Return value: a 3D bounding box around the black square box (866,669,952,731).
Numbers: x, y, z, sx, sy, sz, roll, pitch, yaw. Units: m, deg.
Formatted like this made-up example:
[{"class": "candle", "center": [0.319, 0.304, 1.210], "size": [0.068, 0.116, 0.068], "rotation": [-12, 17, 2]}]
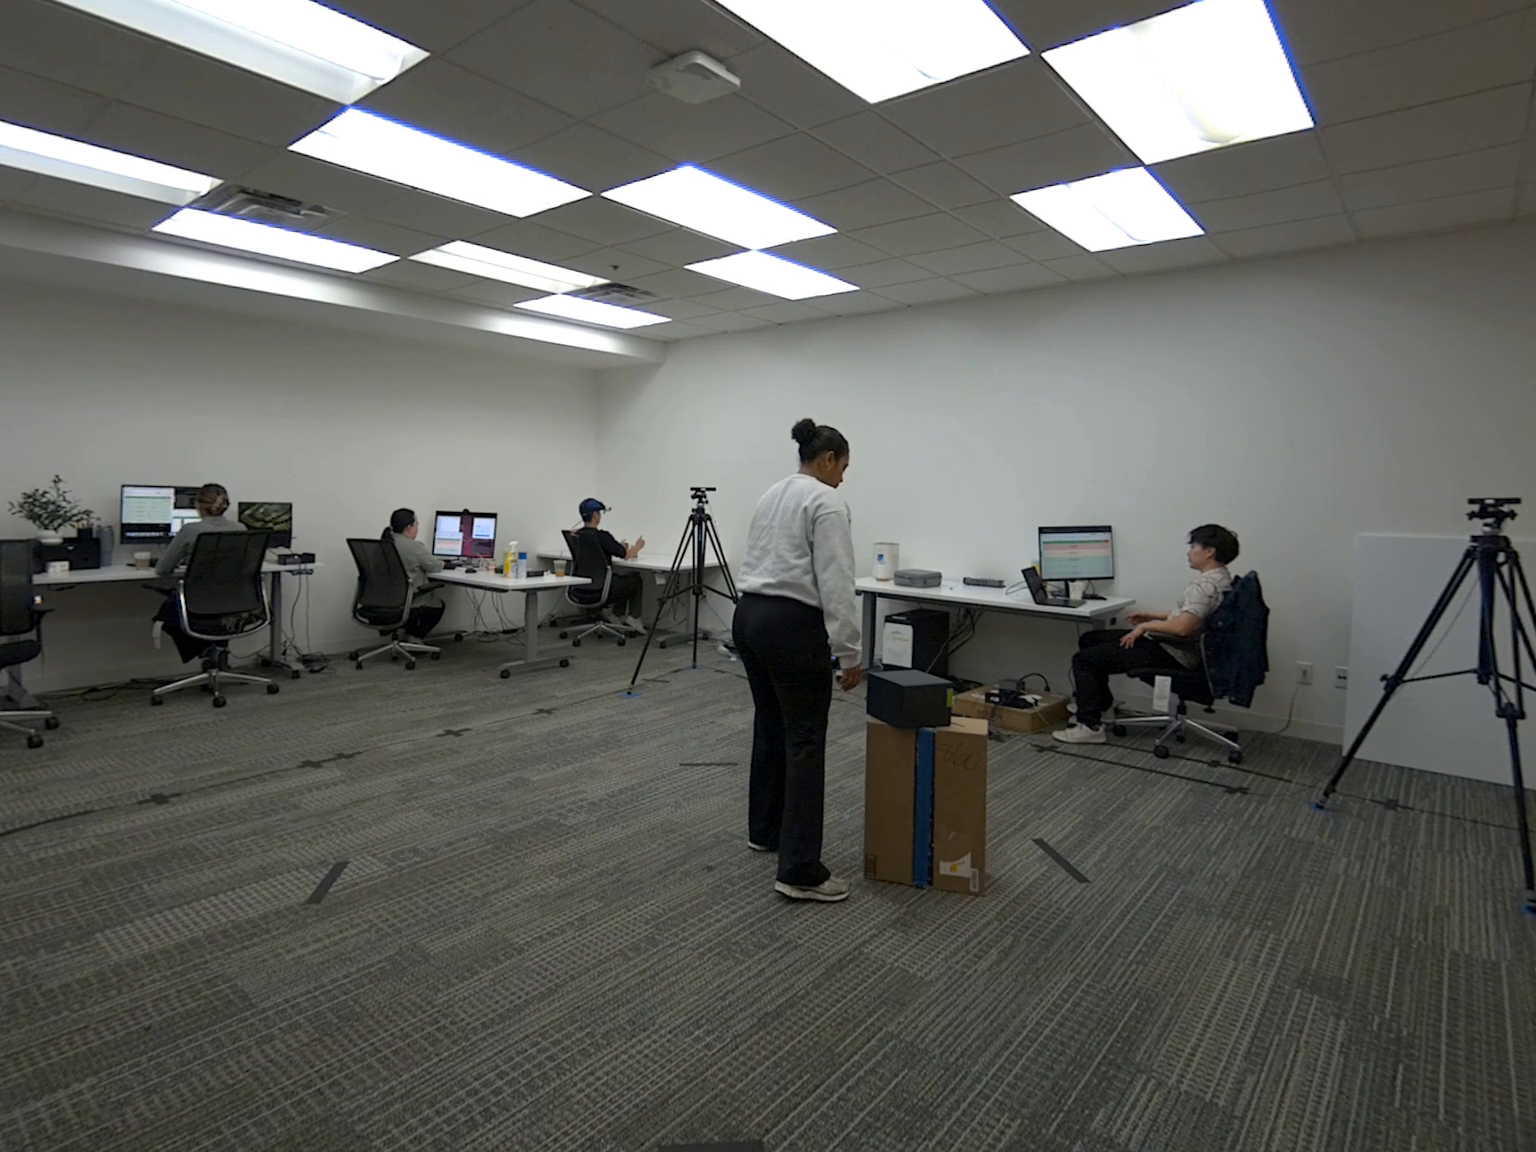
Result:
[{"class": "black square box", "center": [0.506, 0.442, 3.081], "size": [0.212, 0.155, 0.234], "rotation": [0, 5, -24]}]
